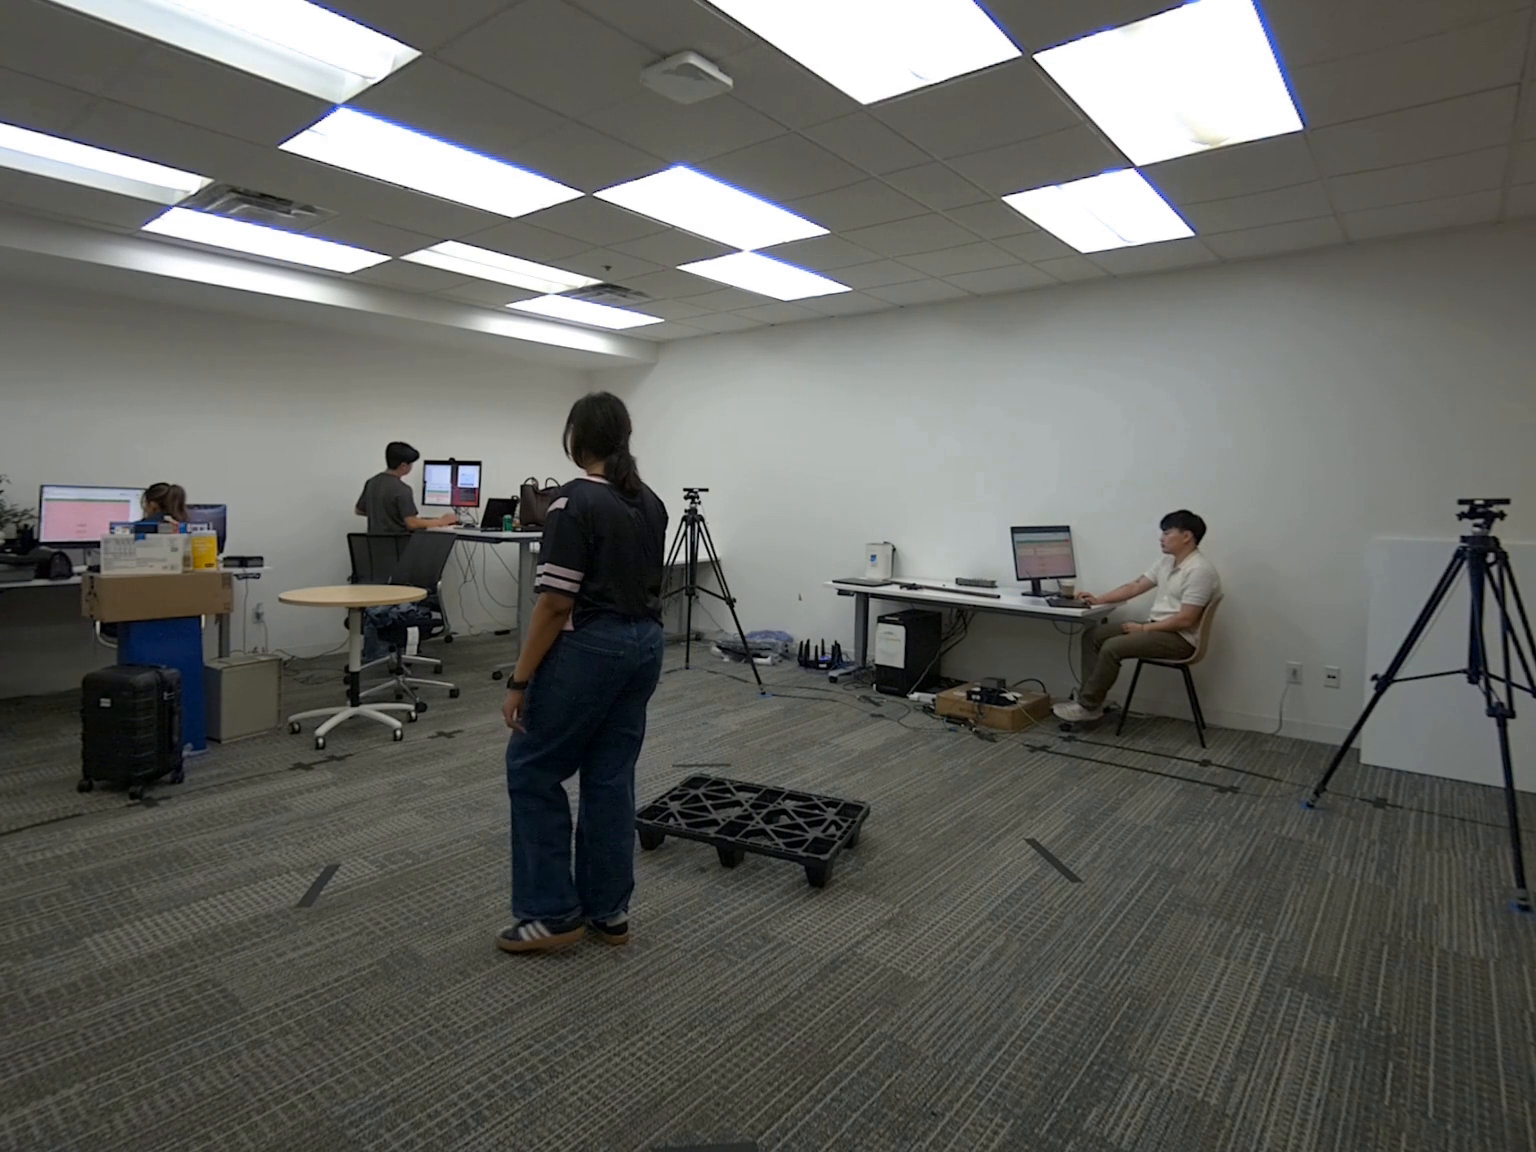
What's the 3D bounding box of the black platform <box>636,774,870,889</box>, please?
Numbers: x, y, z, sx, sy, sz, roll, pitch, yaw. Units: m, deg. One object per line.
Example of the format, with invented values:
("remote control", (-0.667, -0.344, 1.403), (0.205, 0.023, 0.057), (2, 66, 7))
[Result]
("black platform", (-0.075, 0.981, 3.340), (0.826, 0.143, 0.592), (4, 5, 23))
